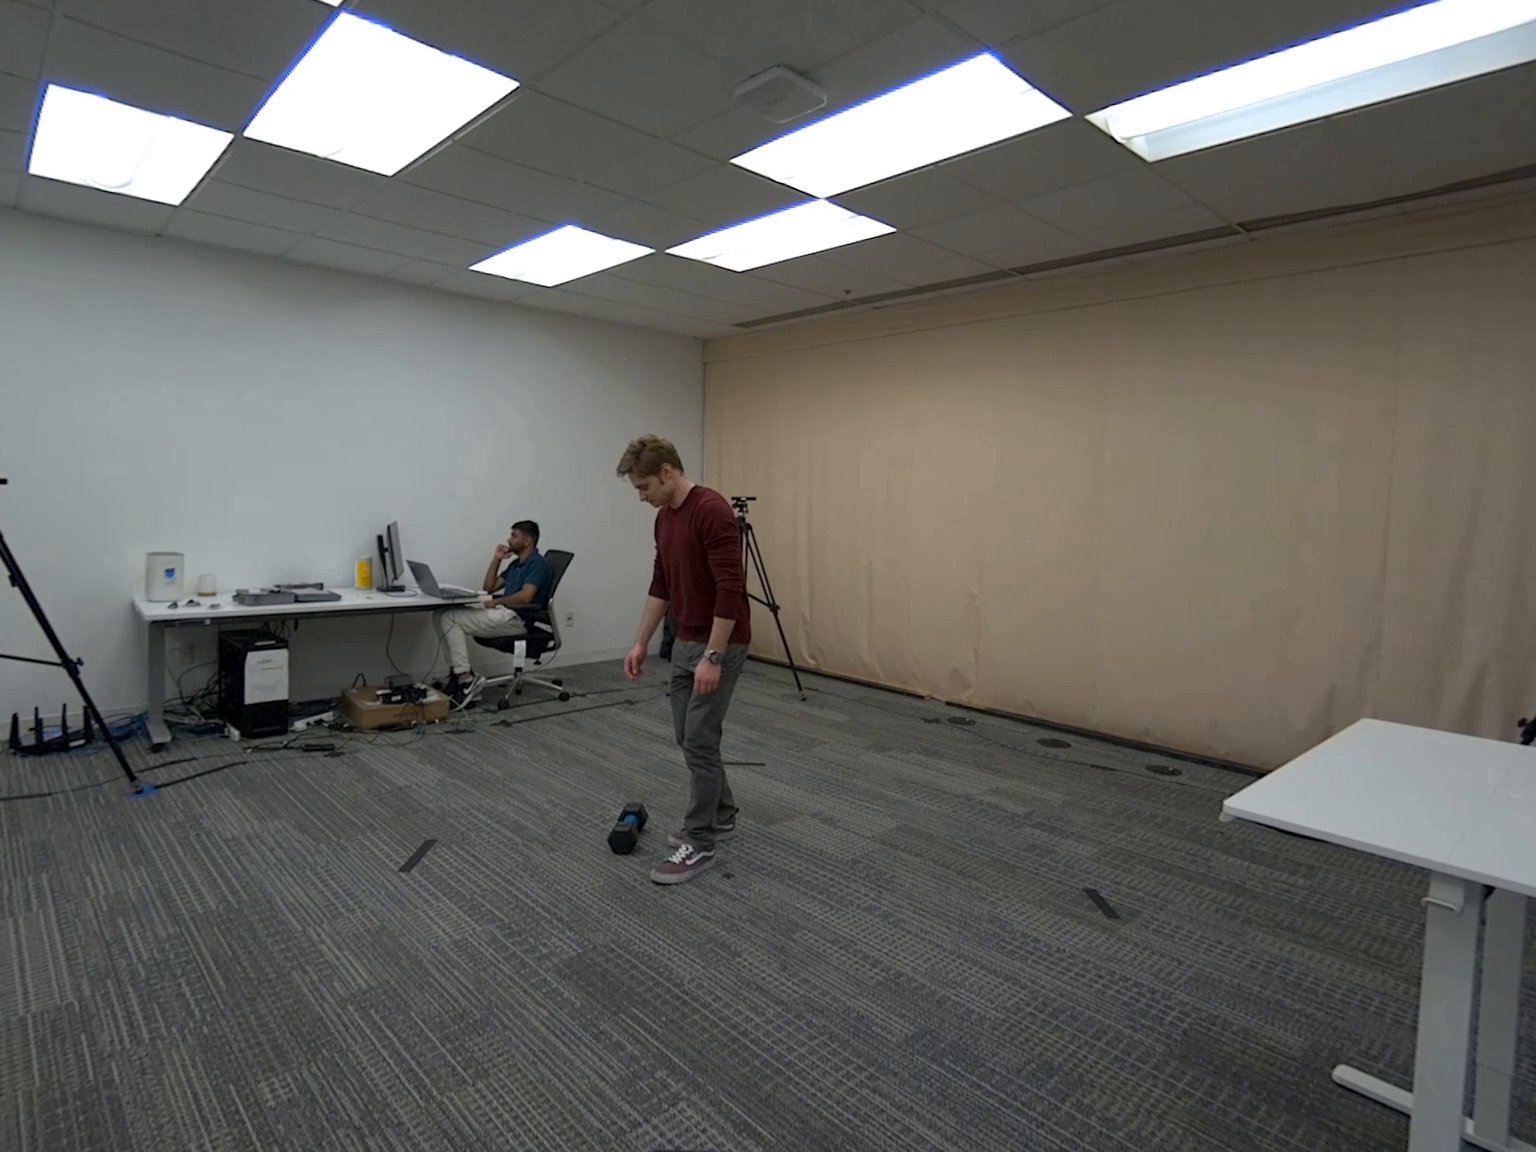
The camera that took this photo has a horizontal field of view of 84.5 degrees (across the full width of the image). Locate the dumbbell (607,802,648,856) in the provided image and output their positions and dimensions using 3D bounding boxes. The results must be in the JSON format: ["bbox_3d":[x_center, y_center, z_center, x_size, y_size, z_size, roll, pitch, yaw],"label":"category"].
[{"bbox_3d":[-0.570,1.016,3.400,0.109,0.123,0.294,30,5,-1],"label":"dumbbell"}]
